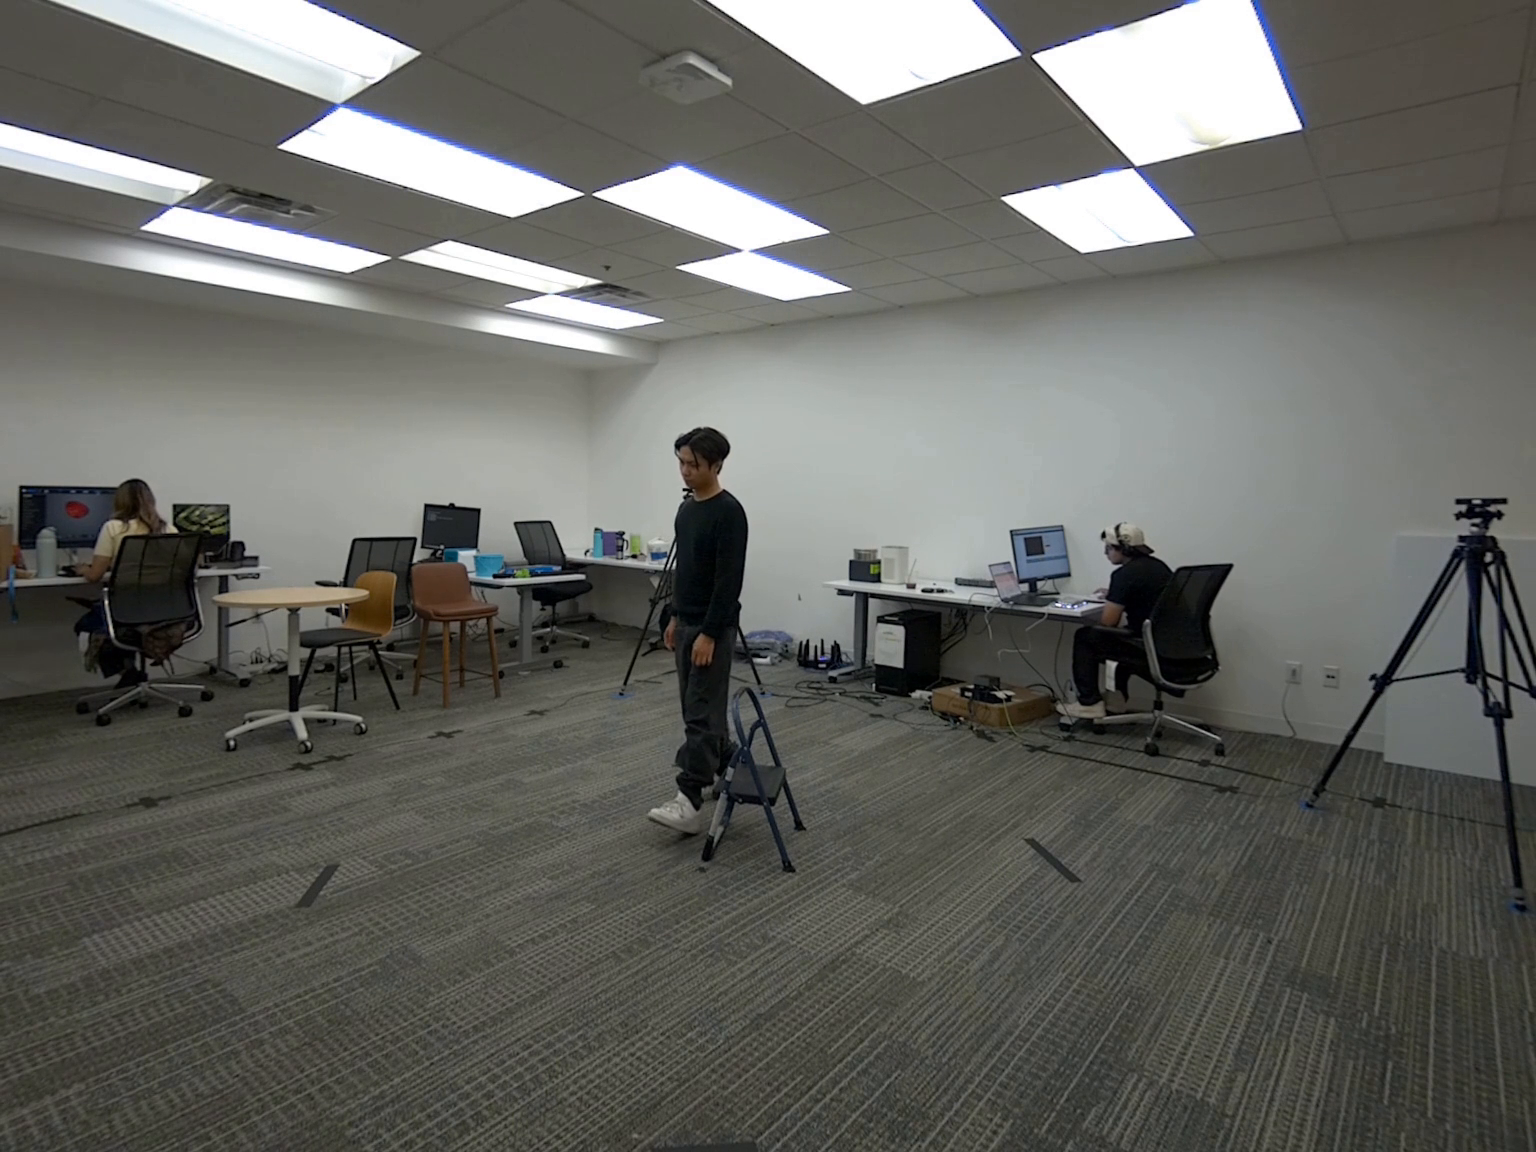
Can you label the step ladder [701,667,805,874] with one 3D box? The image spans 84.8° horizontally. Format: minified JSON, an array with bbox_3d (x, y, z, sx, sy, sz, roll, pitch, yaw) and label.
[{"bbox_3d":[-0.042,0.750,3.322,0.353,0.604,0.428,2,4,8],"label":"step ladder"}]
